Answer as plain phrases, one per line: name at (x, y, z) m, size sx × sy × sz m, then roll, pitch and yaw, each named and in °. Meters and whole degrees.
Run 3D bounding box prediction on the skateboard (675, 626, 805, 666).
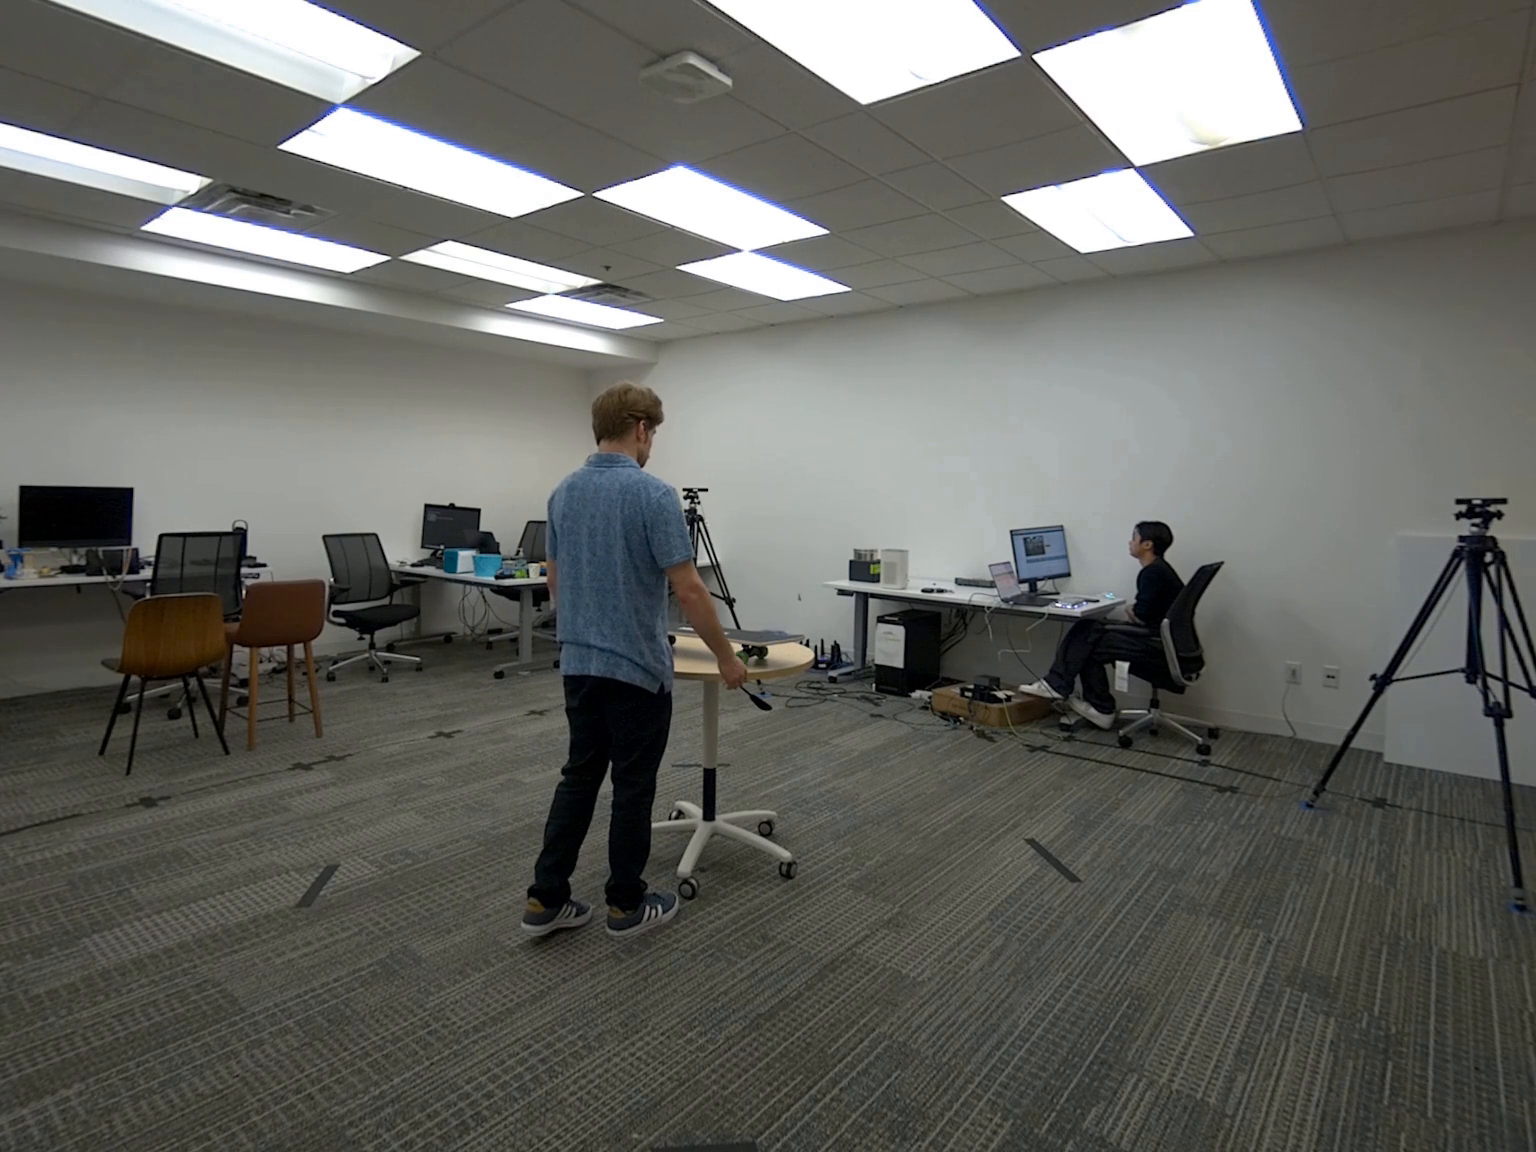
skateboard at (-0.240, 0.236, 3.099) m, size 0.808 × 0.110 × 0.188 m, roll 3°, pitch 4°, yaw 29°
